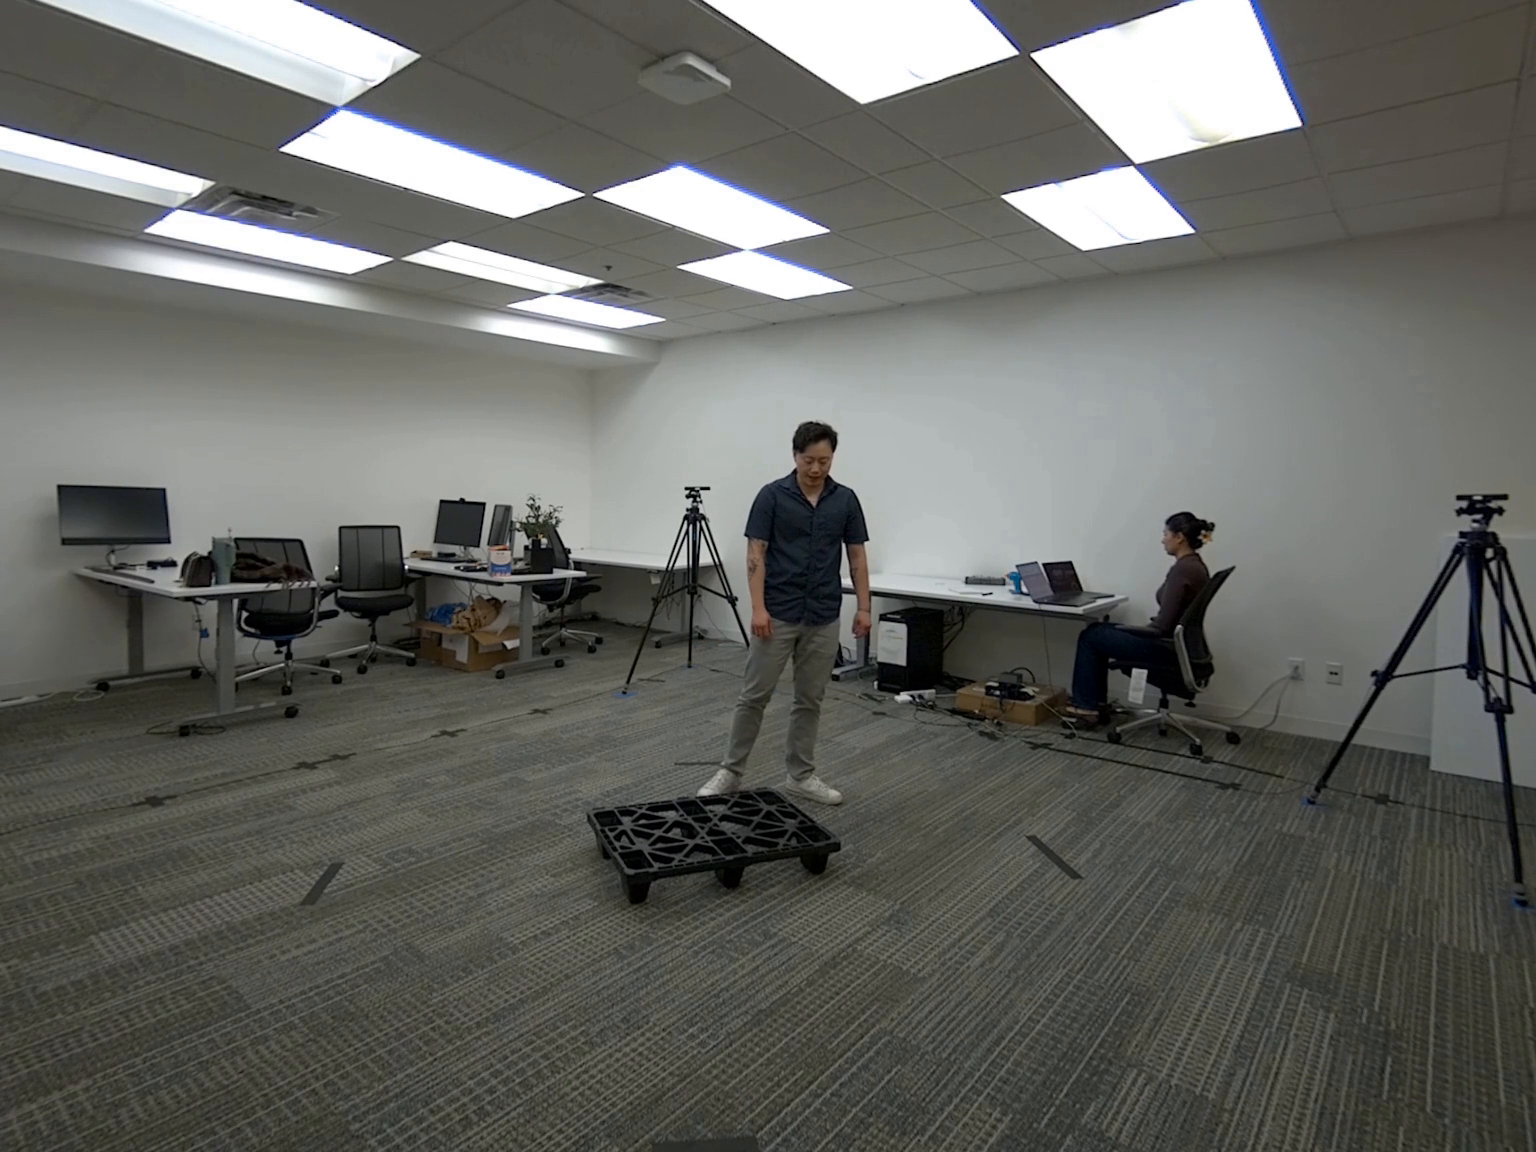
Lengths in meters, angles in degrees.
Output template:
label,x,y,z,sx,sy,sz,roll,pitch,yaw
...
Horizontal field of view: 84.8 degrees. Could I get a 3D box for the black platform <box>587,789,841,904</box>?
label,x,y,z,sx,sy,sz,roll,pitch,yaw
black platform,-0.226,0.990,3.171,0.788,0.143,0.621,-2,7,-23
